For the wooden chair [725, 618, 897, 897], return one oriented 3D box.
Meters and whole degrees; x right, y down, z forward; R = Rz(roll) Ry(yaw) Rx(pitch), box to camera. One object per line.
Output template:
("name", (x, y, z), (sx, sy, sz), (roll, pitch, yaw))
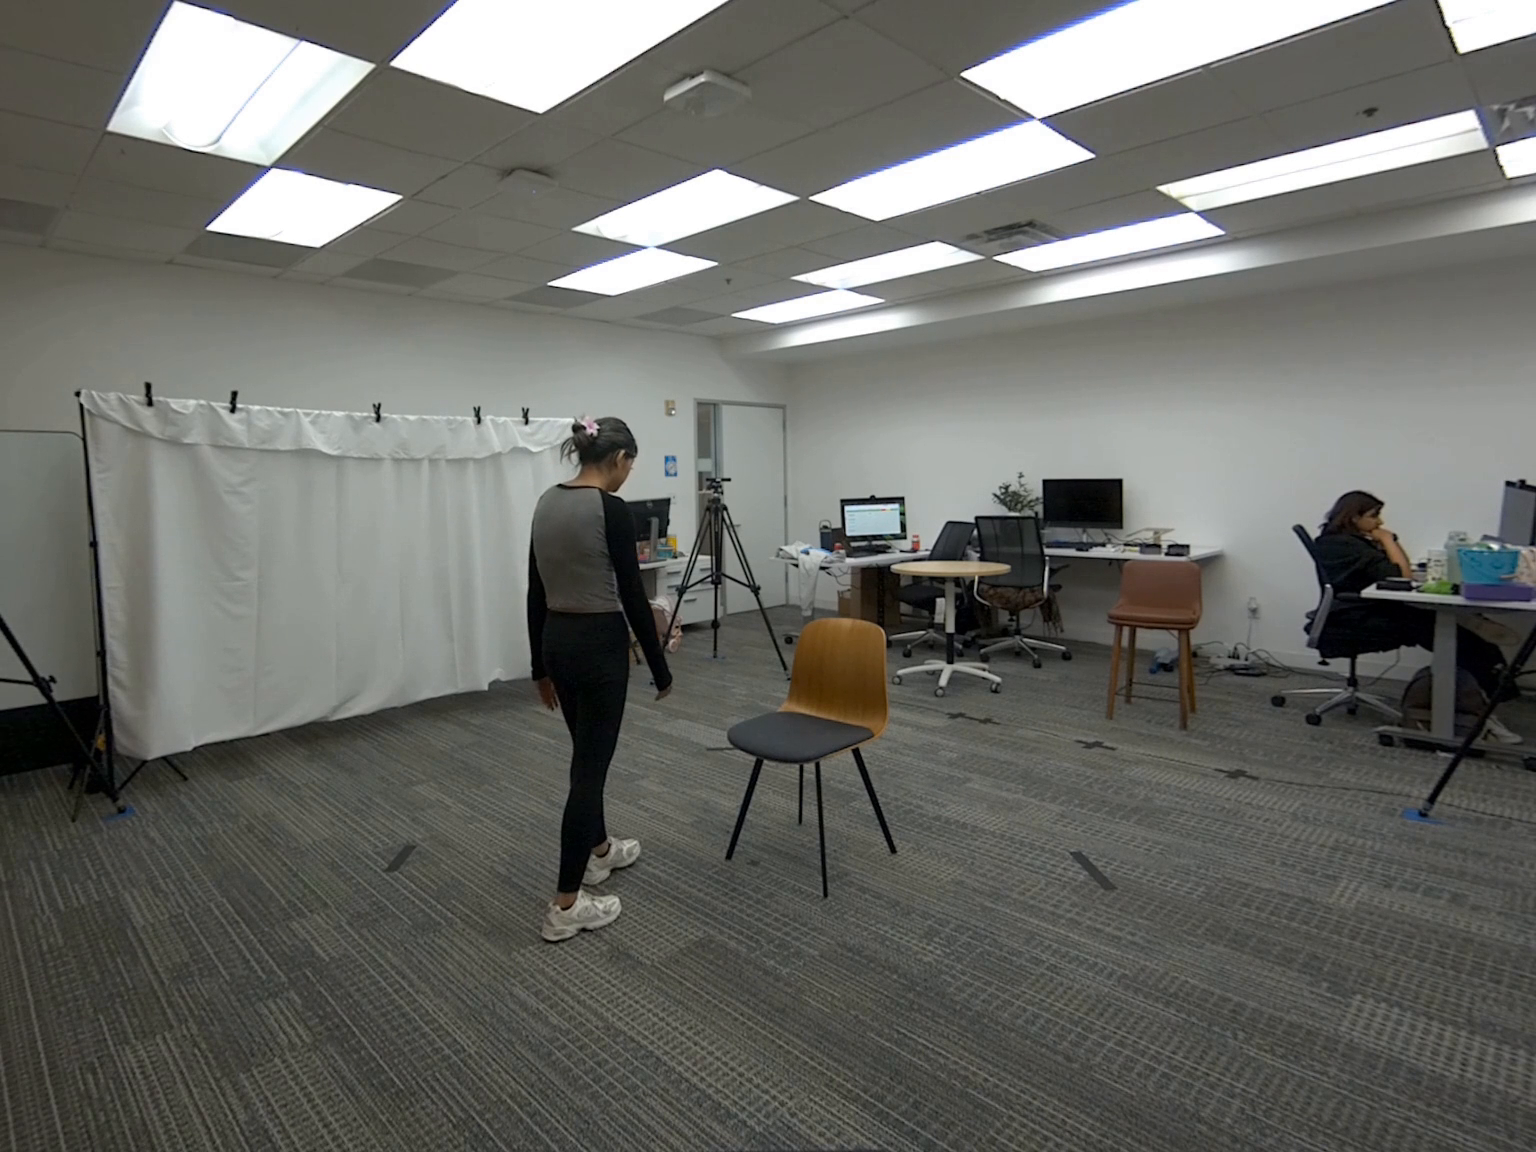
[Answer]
("wooden chair", (0.151, 0.609, 3.111), (0.493, 0.877, 0.508), (3, 1, 41))
